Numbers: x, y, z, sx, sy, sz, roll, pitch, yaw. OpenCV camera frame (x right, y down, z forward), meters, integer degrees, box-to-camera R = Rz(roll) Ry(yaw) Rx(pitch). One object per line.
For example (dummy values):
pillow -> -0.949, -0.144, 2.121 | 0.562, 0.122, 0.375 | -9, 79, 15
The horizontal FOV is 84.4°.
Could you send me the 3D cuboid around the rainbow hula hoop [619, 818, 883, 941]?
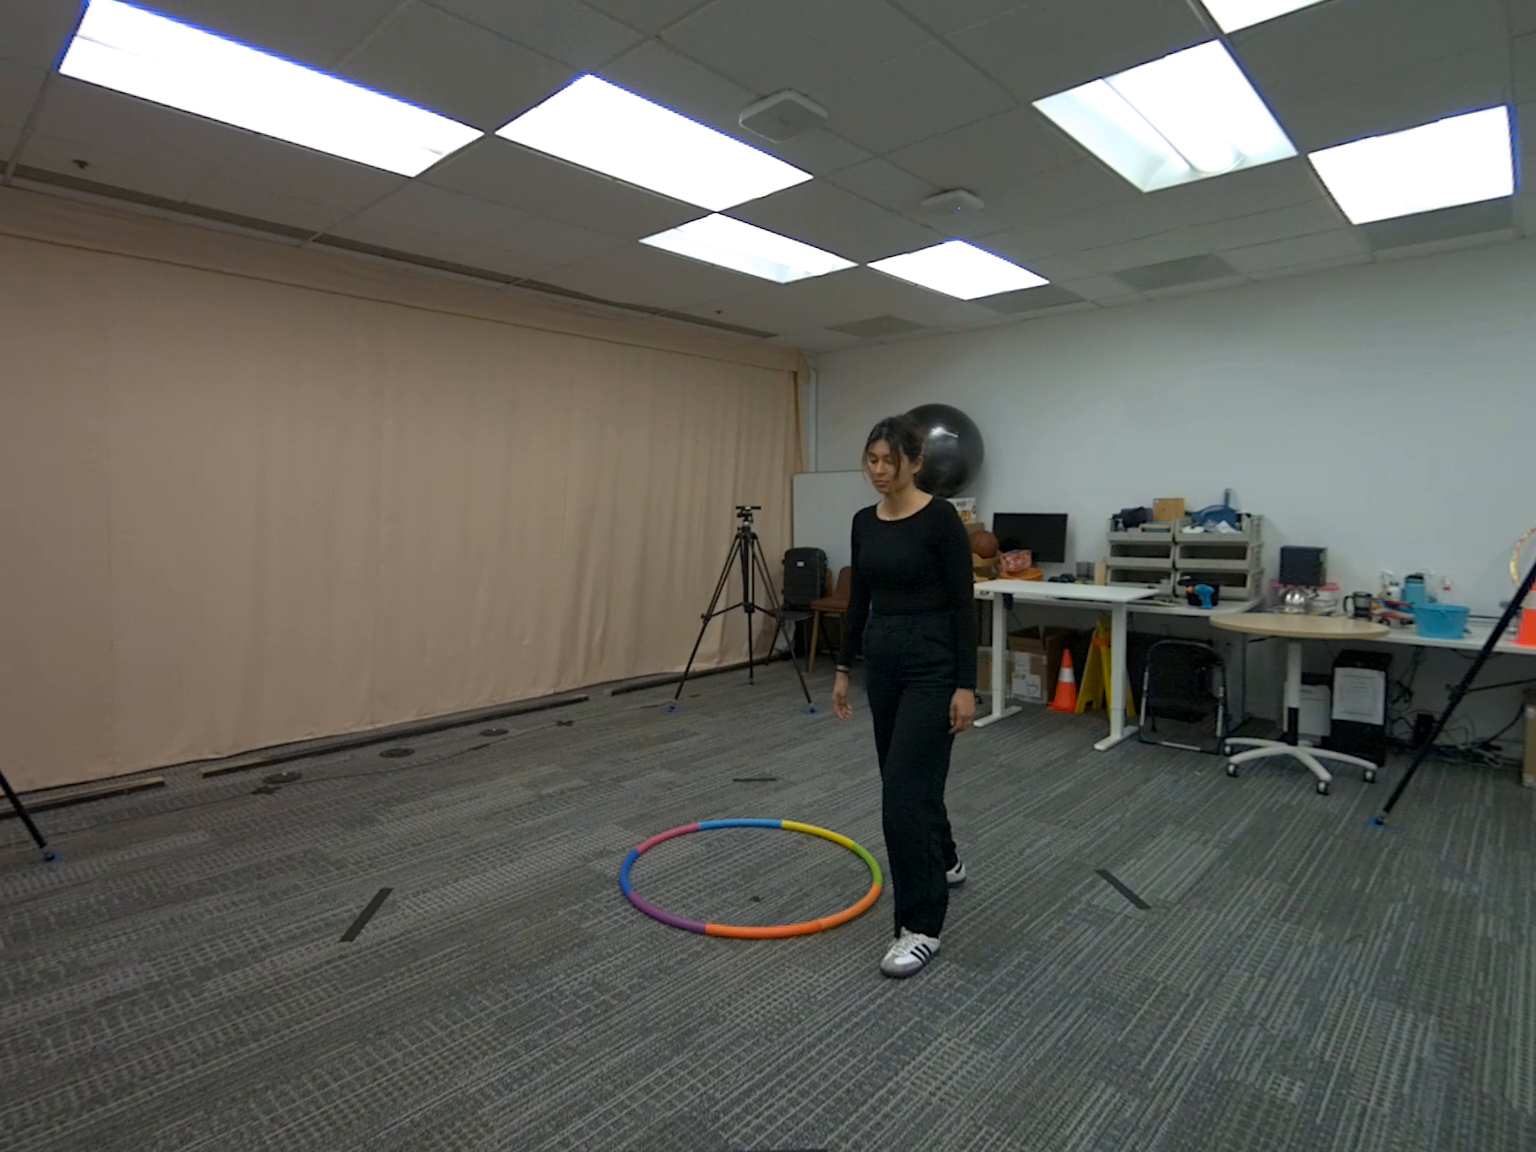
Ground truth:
rainbow hula hoop -> -0.062, 1.098, 3.184 | 0.978, 0.035, 0.982 | -1, 5, -2
